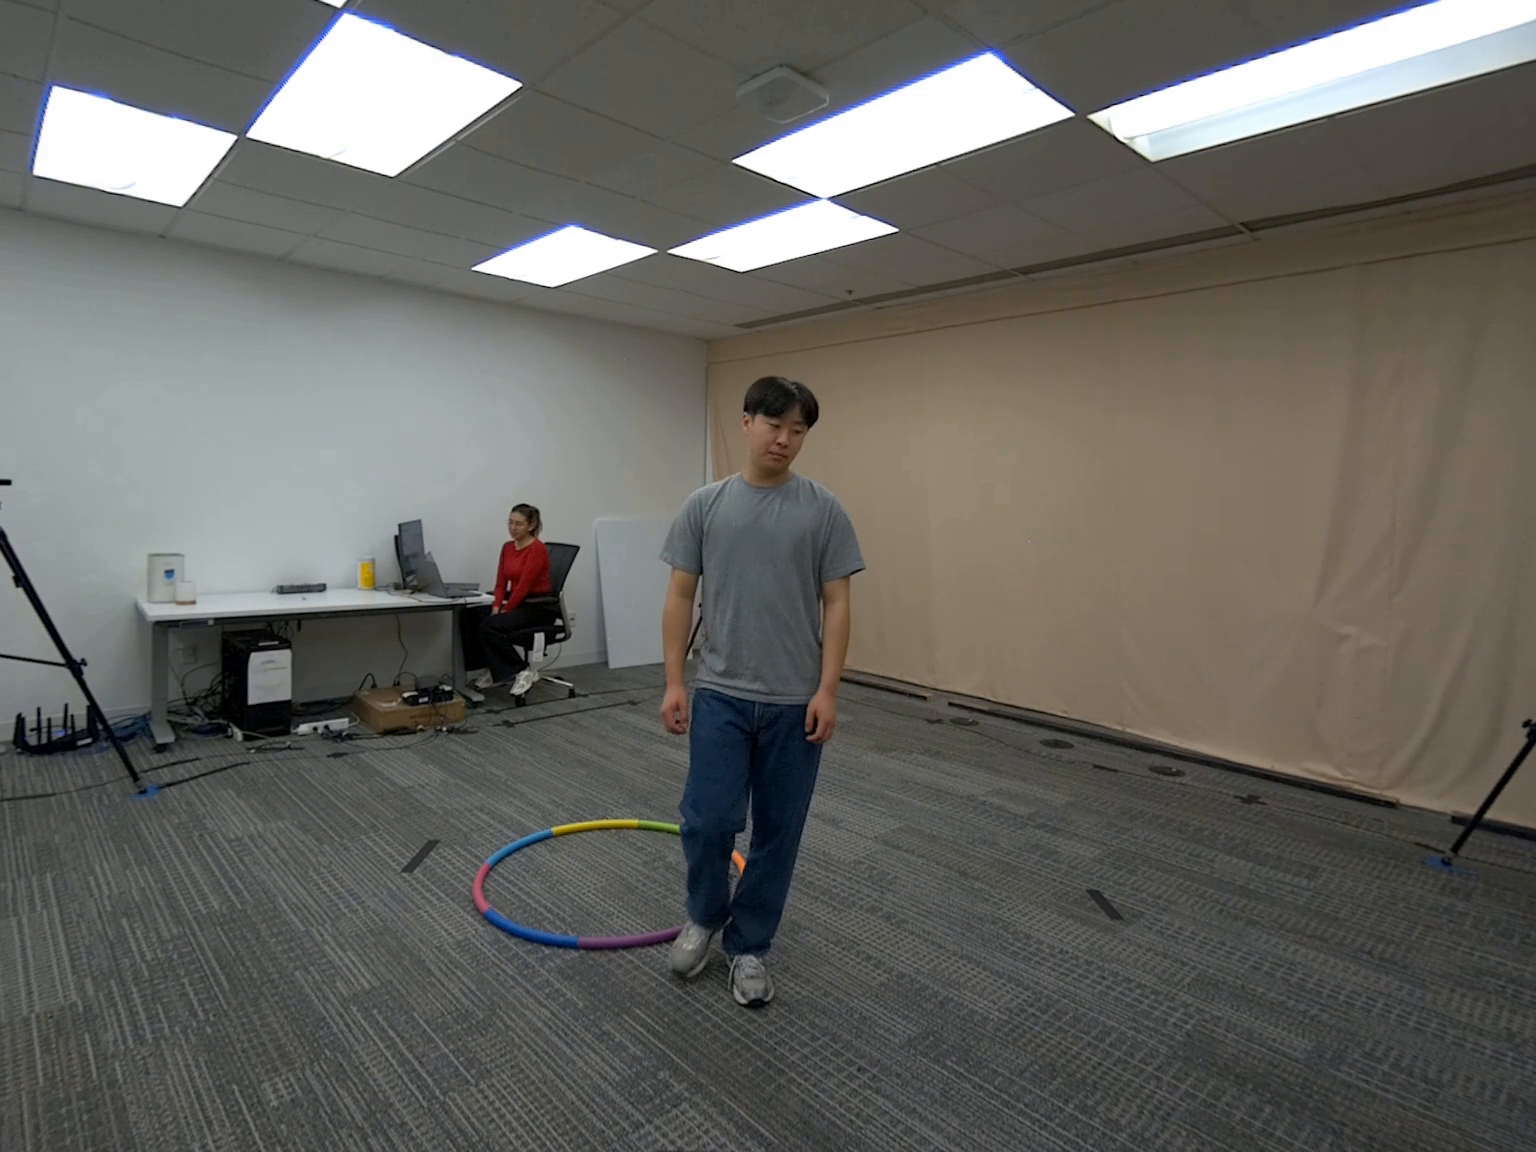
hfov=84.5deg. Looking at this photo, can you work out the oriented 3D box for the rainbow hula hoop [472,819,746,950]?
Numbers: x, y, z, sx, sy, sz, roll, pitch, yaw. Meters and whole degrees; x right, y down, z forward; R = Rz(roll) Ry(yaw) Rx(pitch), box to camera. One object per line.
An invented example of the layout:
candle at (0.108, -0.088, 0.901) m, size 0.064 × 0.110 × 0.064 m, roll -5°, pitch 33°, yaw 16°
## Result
rainbow hula hoop at (-0.568, 1.069, 3.061) m, size 0.978 × 0.035 × 0.982 m, roll 2°, pitch 5°, yaw -1°
